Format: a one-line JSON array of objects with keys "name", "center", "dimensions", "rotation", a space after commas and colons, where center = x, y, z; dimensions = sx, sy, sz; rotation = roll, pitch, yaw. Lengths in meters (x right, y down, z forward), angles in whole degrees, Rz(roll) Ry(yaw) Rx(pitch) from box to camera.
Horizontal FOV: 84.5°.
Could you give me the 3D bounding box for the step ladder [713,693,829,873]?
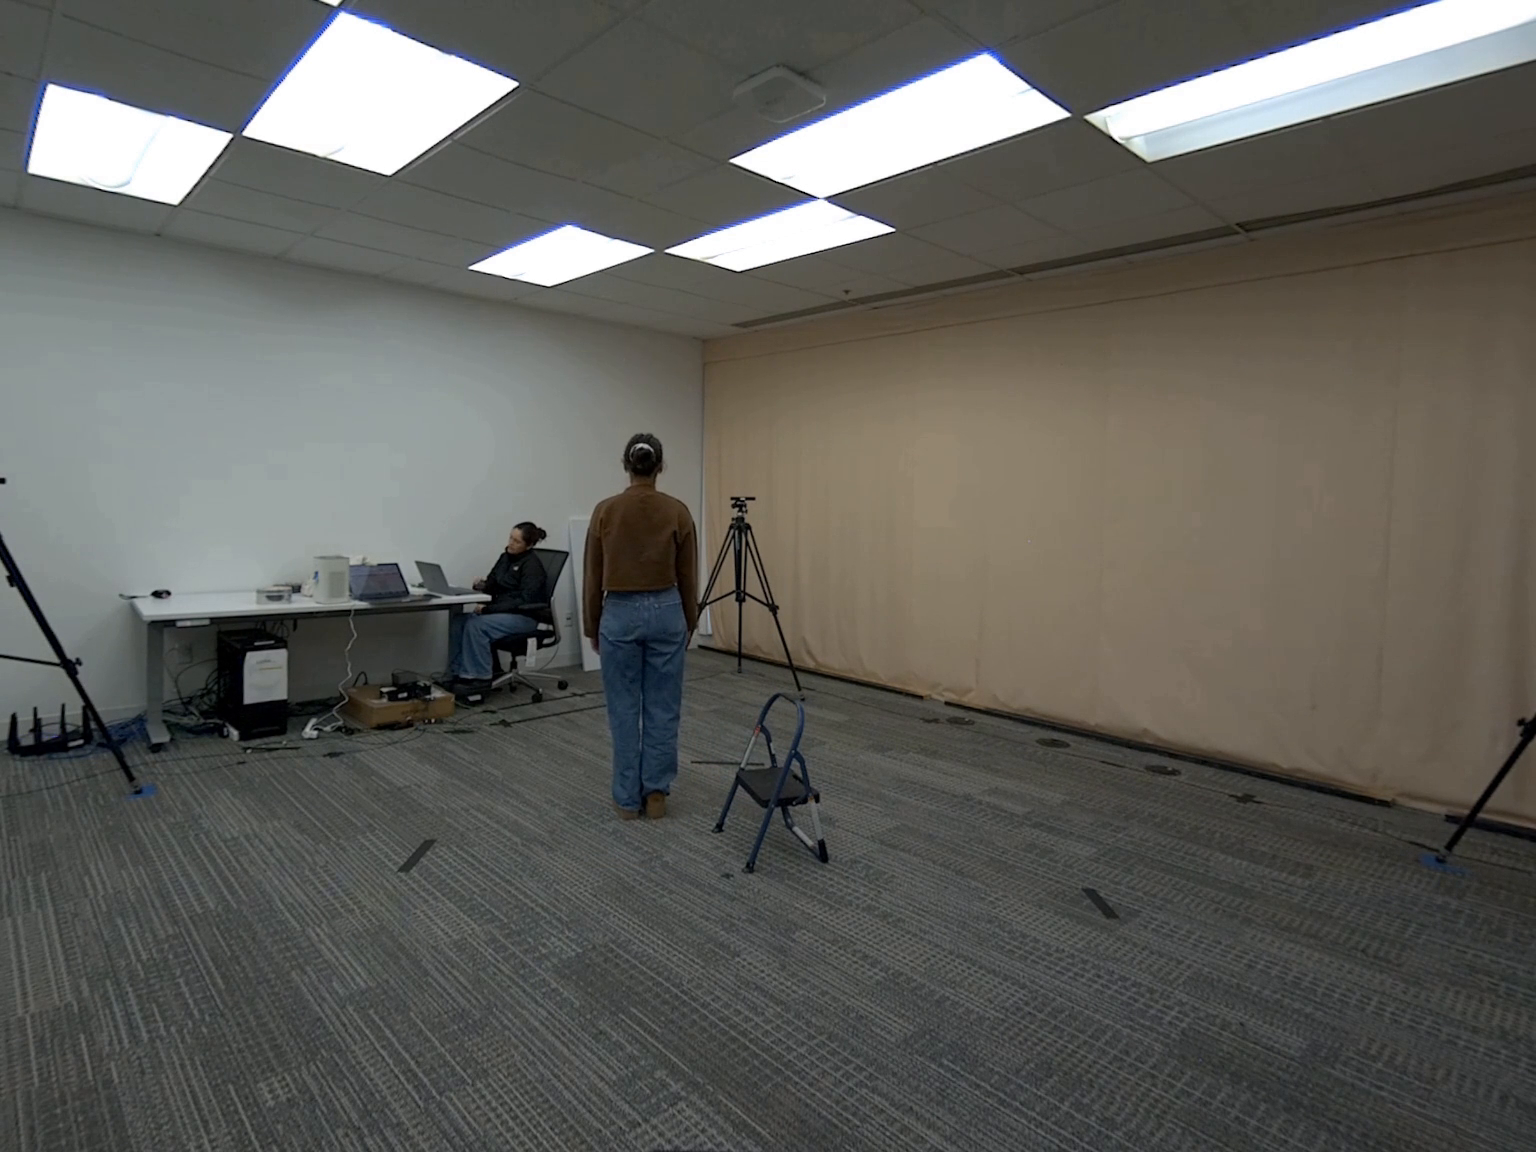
[{"name": "step ladder", "center": [0.003, 0.786, 3.365], "dimensions": [0.344, 0.605, 0.438], "rotation": [0, 4, -20]}]
